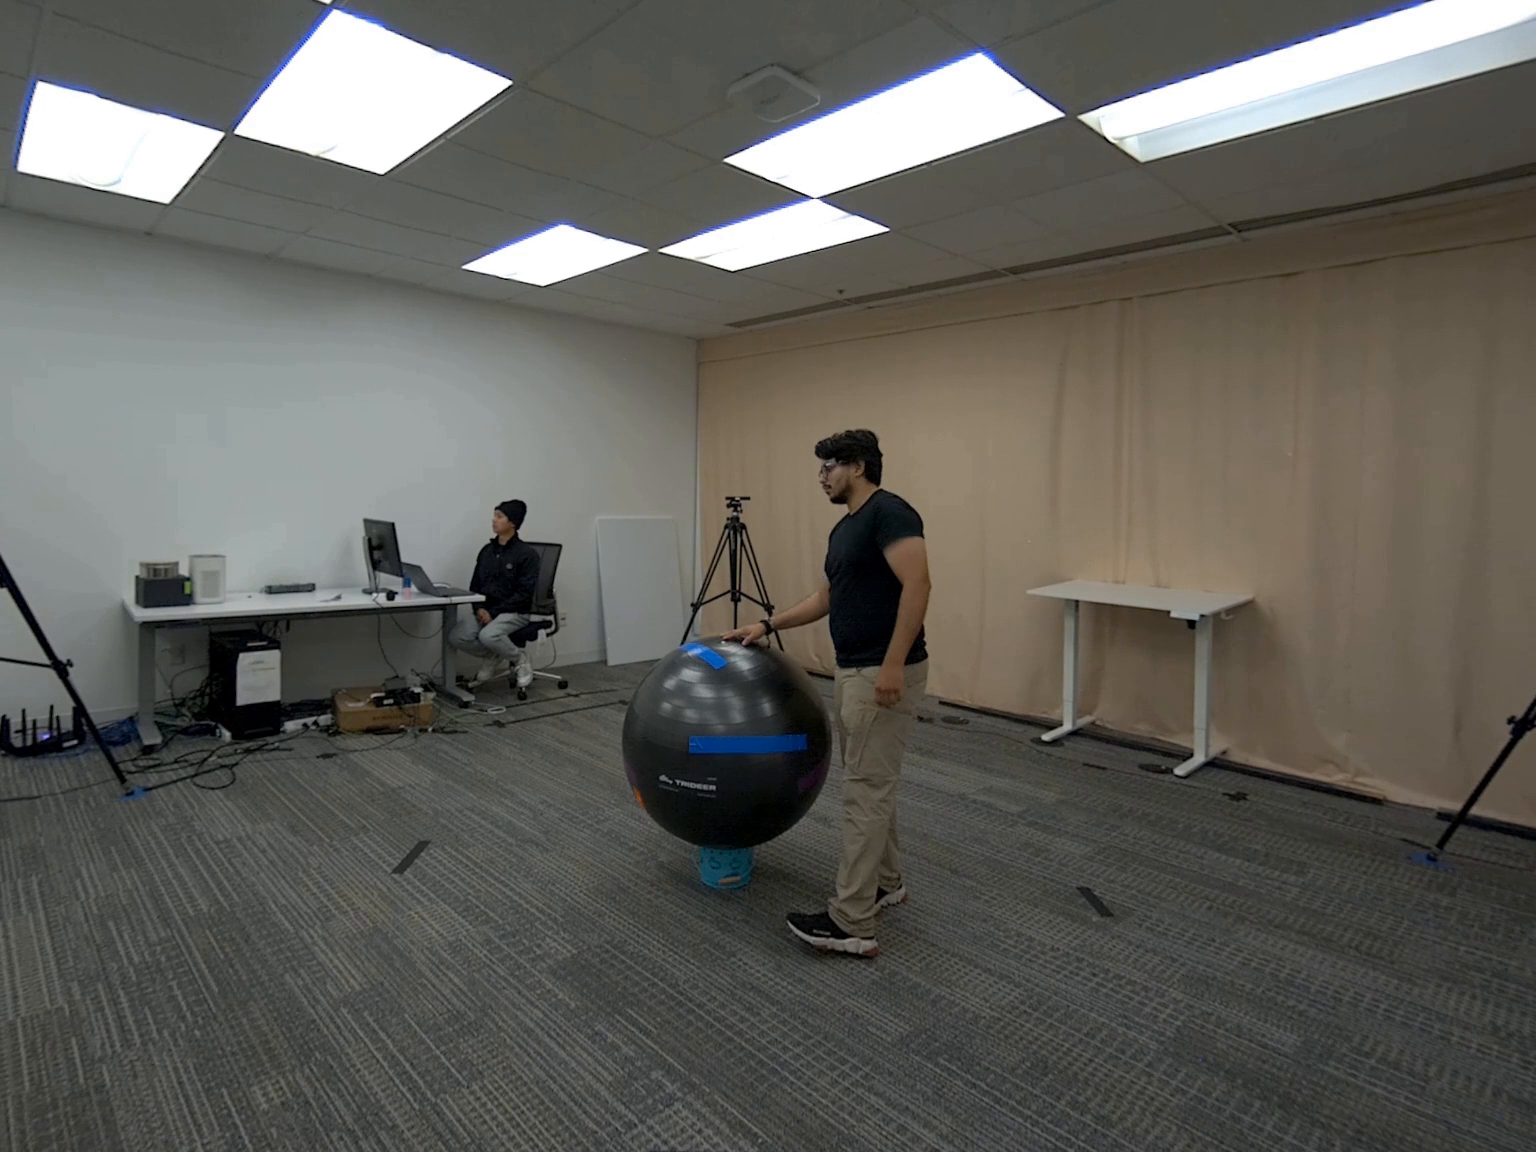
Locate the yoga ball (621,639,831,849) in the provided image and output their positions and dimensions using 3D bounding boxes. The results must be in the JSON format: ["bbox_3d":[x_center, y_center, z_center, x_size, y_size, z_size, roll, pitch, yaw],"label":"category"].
[{"bbox_3d":[-0.158,0.603,3.057,0.757,0.756,0.760,1,4,-1],"label":"yoga ball"}]
